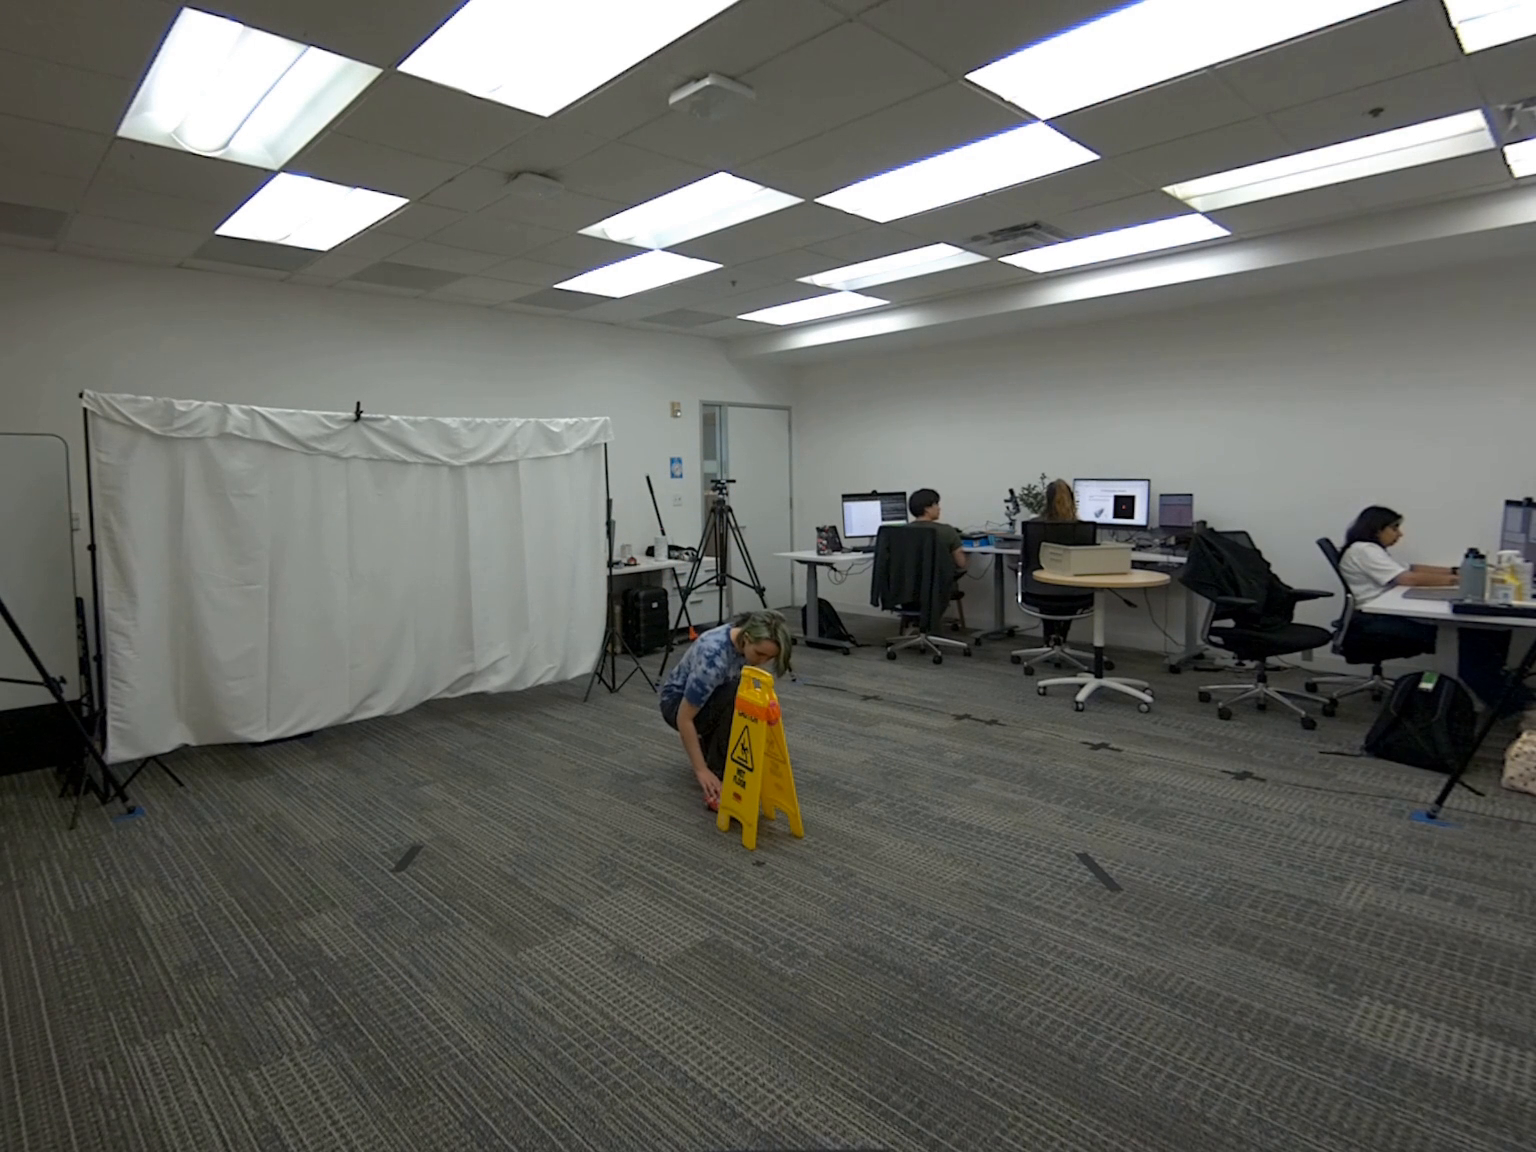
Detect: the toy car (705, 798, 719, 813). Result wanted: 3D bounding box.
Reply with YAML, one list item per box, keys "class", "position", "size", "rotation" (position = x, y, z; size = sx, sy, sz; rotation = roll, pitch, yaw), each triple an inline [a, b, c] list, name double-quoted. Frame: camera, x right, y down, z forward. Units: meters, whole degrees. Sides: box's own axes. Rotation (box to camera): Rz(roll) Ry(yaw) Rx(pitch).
- class: "toy car"
  position: [-0.154, 0.978, 3.580]
  size: [0.127, 0.084, 0.259]
  rotation: [-5, -4, -29]
